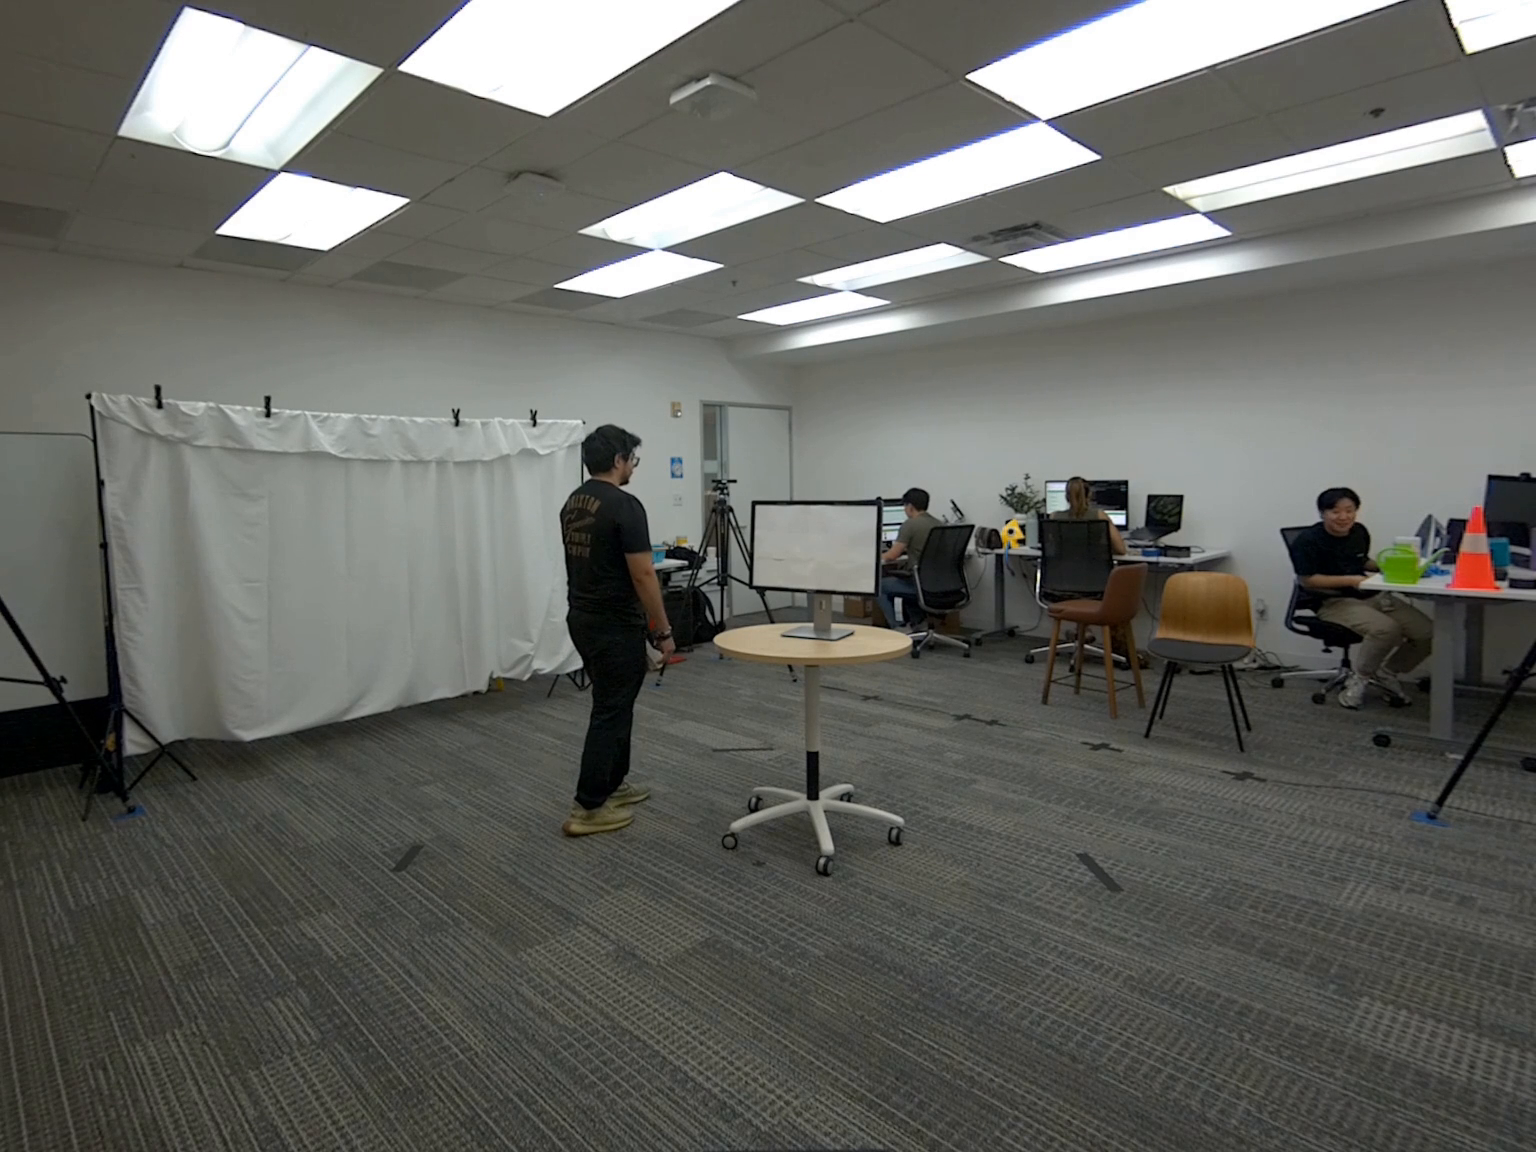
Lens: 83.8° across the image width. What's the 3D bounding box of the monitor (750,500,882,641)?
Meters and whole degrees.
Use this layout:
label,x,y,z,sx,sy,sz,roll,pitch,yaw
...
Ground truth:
label,x,y,z,sx,sy,sz,roll,pitch,yaw
monitor,0.210,-0.031,3.408,0.580,0.553,0.205,2,2,30
